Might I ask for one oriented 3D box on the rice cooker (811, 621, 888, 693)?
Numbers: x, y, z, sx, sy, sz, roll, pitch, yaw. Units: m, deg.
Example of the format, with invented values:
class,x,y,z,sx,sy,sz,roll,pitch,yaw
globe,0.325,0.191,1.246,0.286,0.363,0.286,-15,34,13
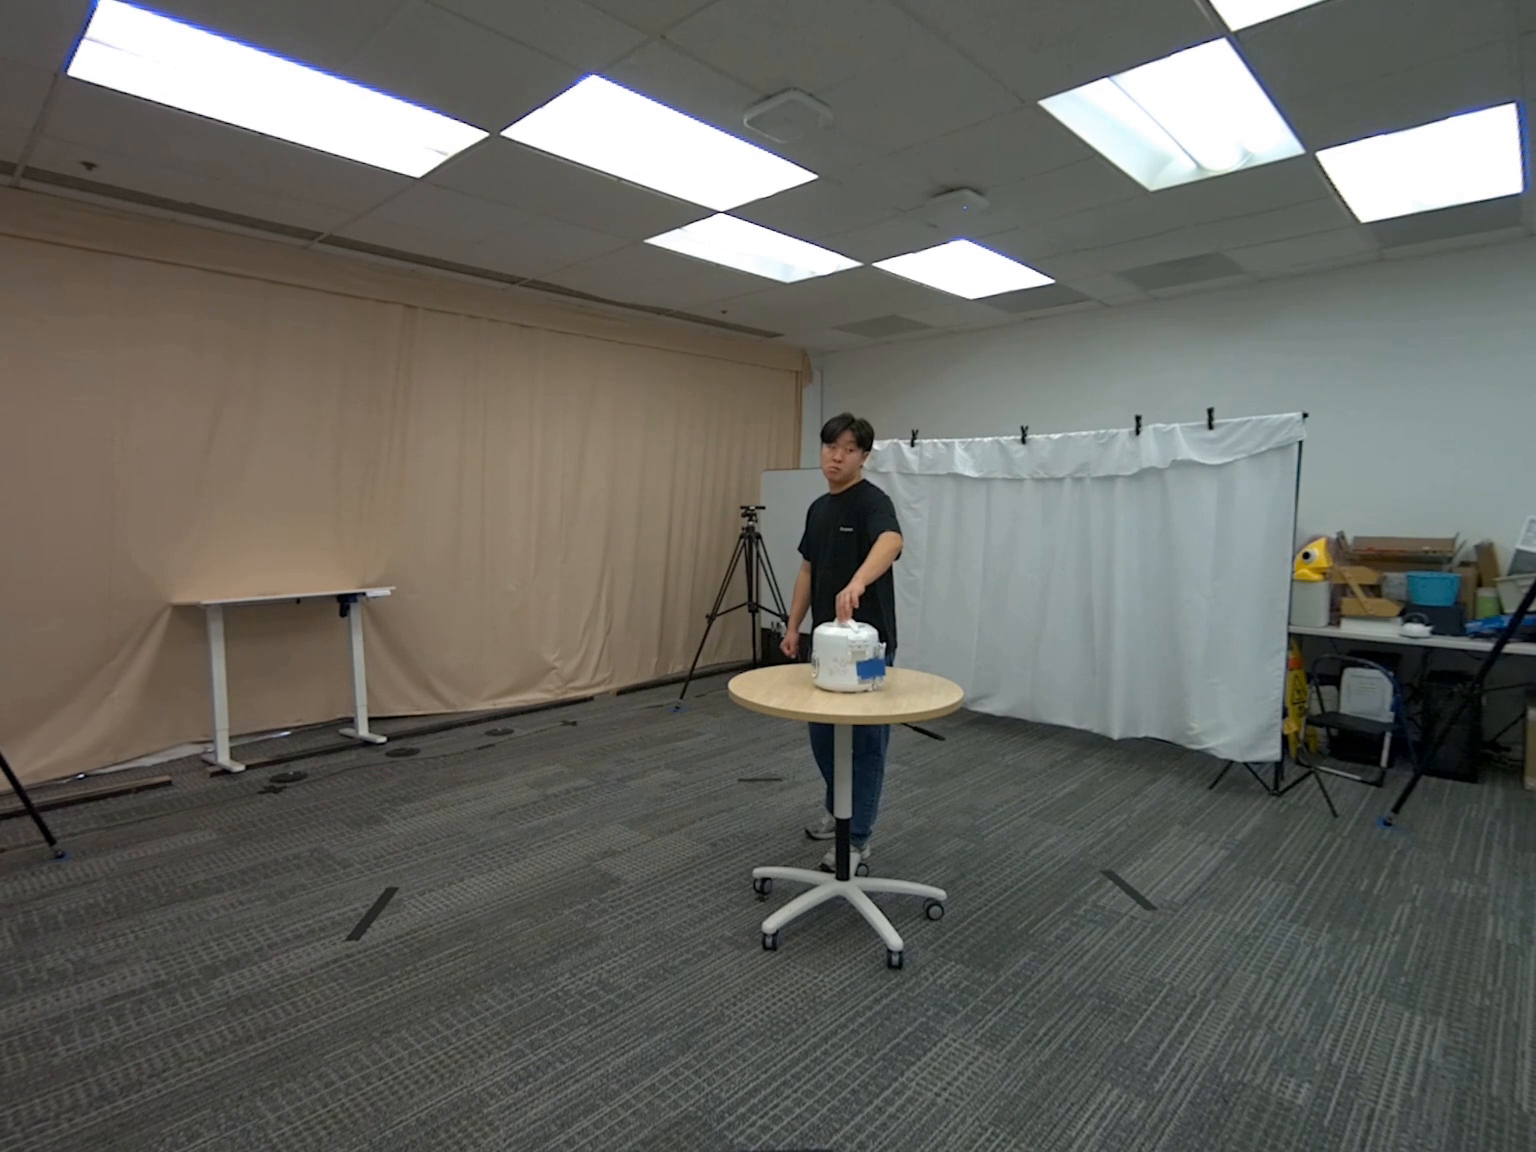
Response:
class,x,y,z,sx,sy,sz,roll,pitch,yaw
rice cooker,0.254,0.250,2.755,0.214,0.232,0.224,0,3,-15
